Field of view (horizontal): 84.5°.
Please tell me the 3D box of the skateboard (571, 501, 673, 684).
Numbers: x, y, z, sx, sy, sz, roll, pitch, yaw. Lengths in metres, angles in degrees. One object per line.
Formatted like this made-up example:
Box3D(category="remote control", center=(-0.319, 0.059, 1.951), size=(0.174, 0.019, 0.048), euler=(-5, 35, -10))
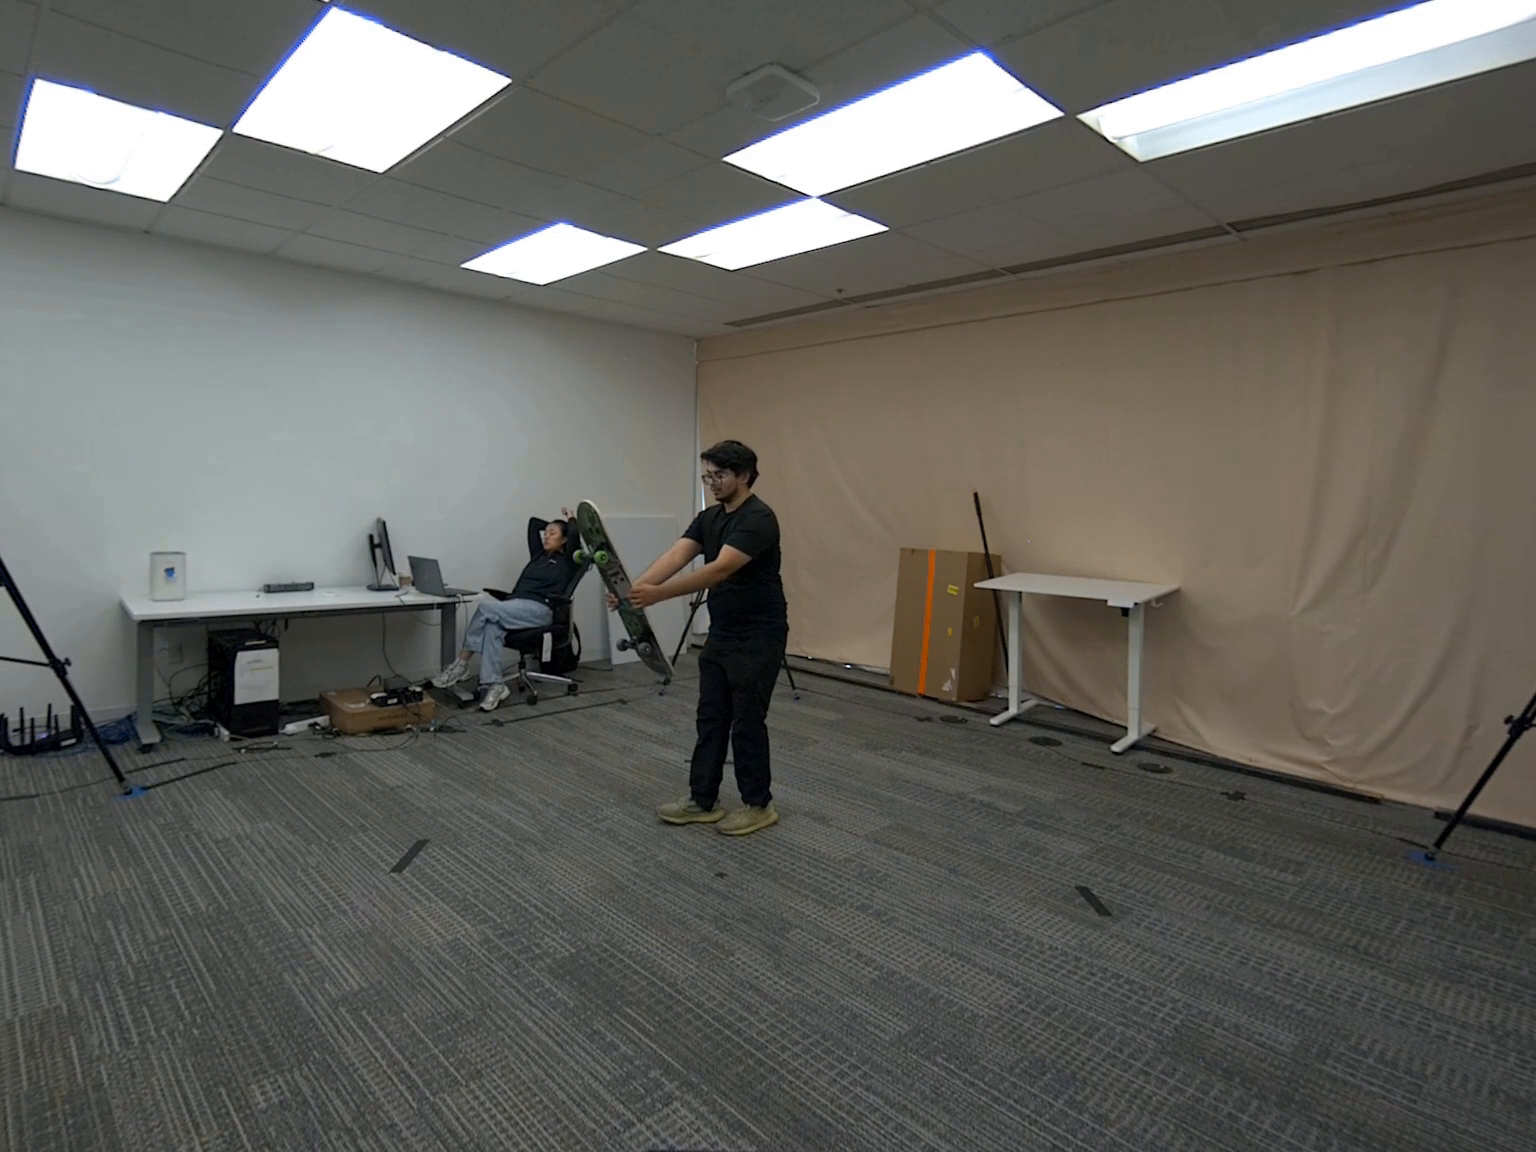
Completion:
Box3D(category="skateboard", center=(-0.576, 0.093, 3.201), size=(0.198, 0.771, 0.109), euler=(2, 29, 48))
